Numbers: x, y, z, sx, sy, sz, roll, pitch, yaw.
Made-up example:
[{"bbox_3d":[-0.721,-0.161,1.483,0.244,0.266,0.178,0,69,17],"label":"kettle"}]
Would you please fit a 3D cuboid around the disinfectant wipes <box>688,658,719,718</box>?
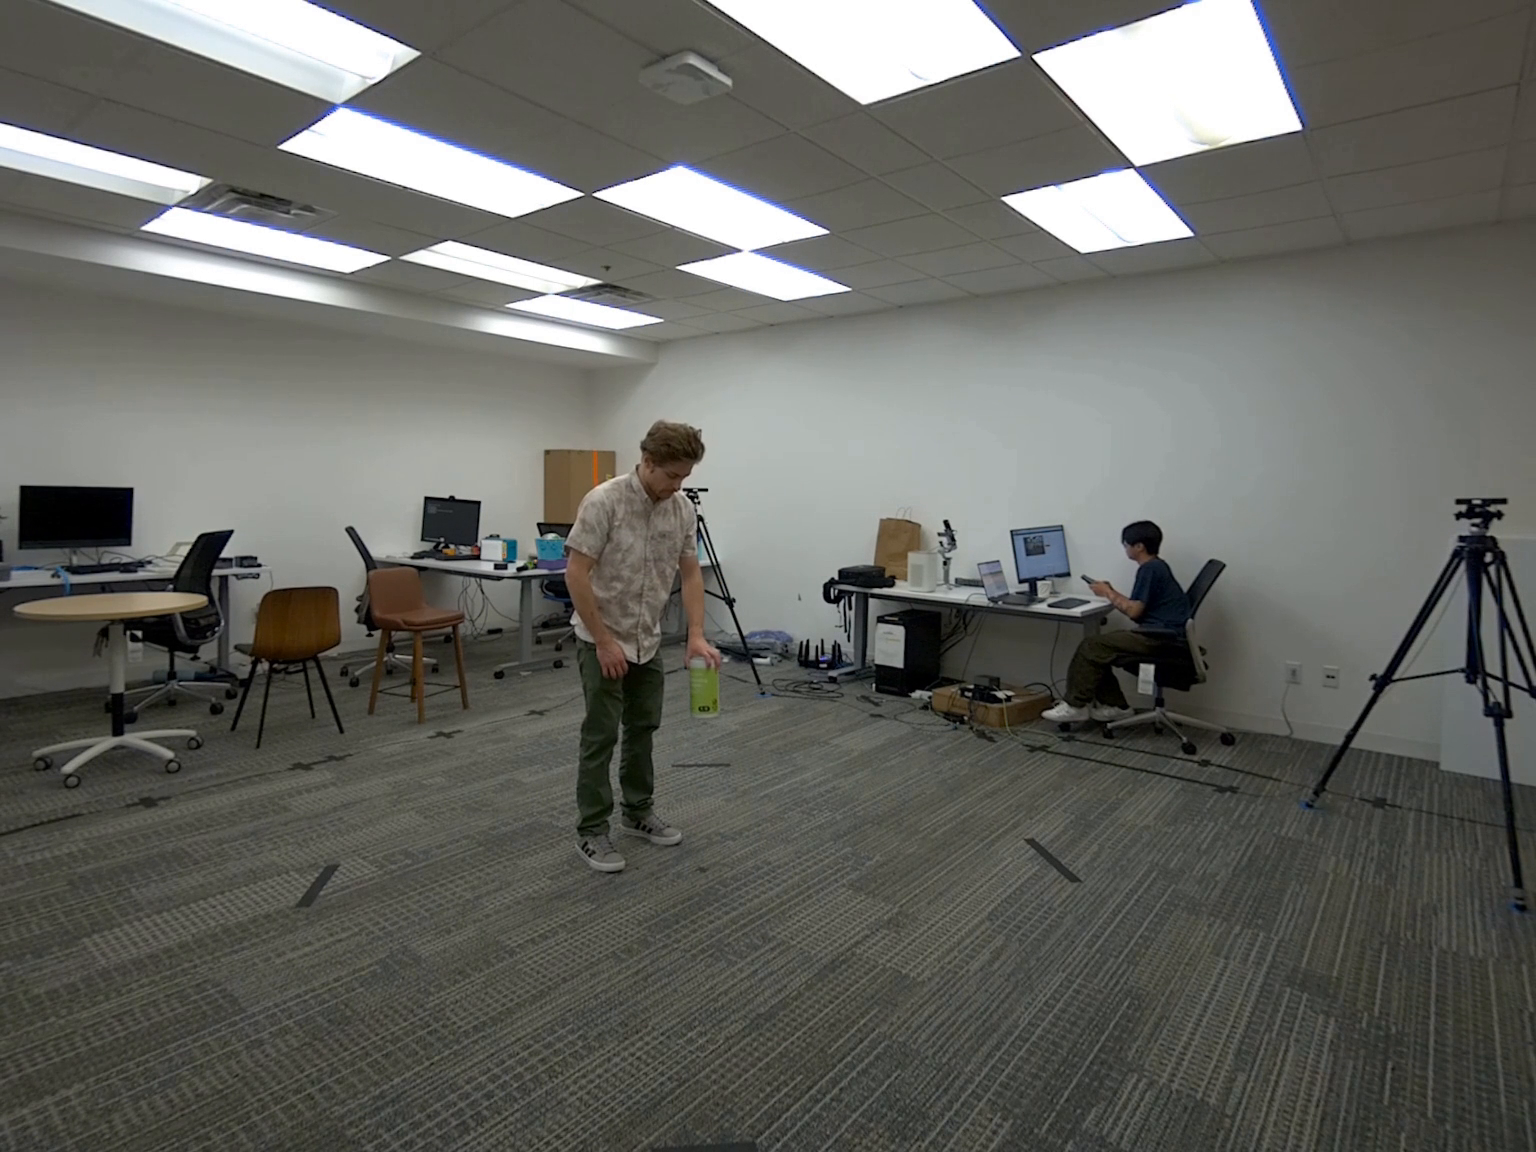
[{"bbox_3d":[-0.252,0.417,3.159,0.118,0.217,0.118,-2,1,-2],"label":"disinfectant wipes"}]
